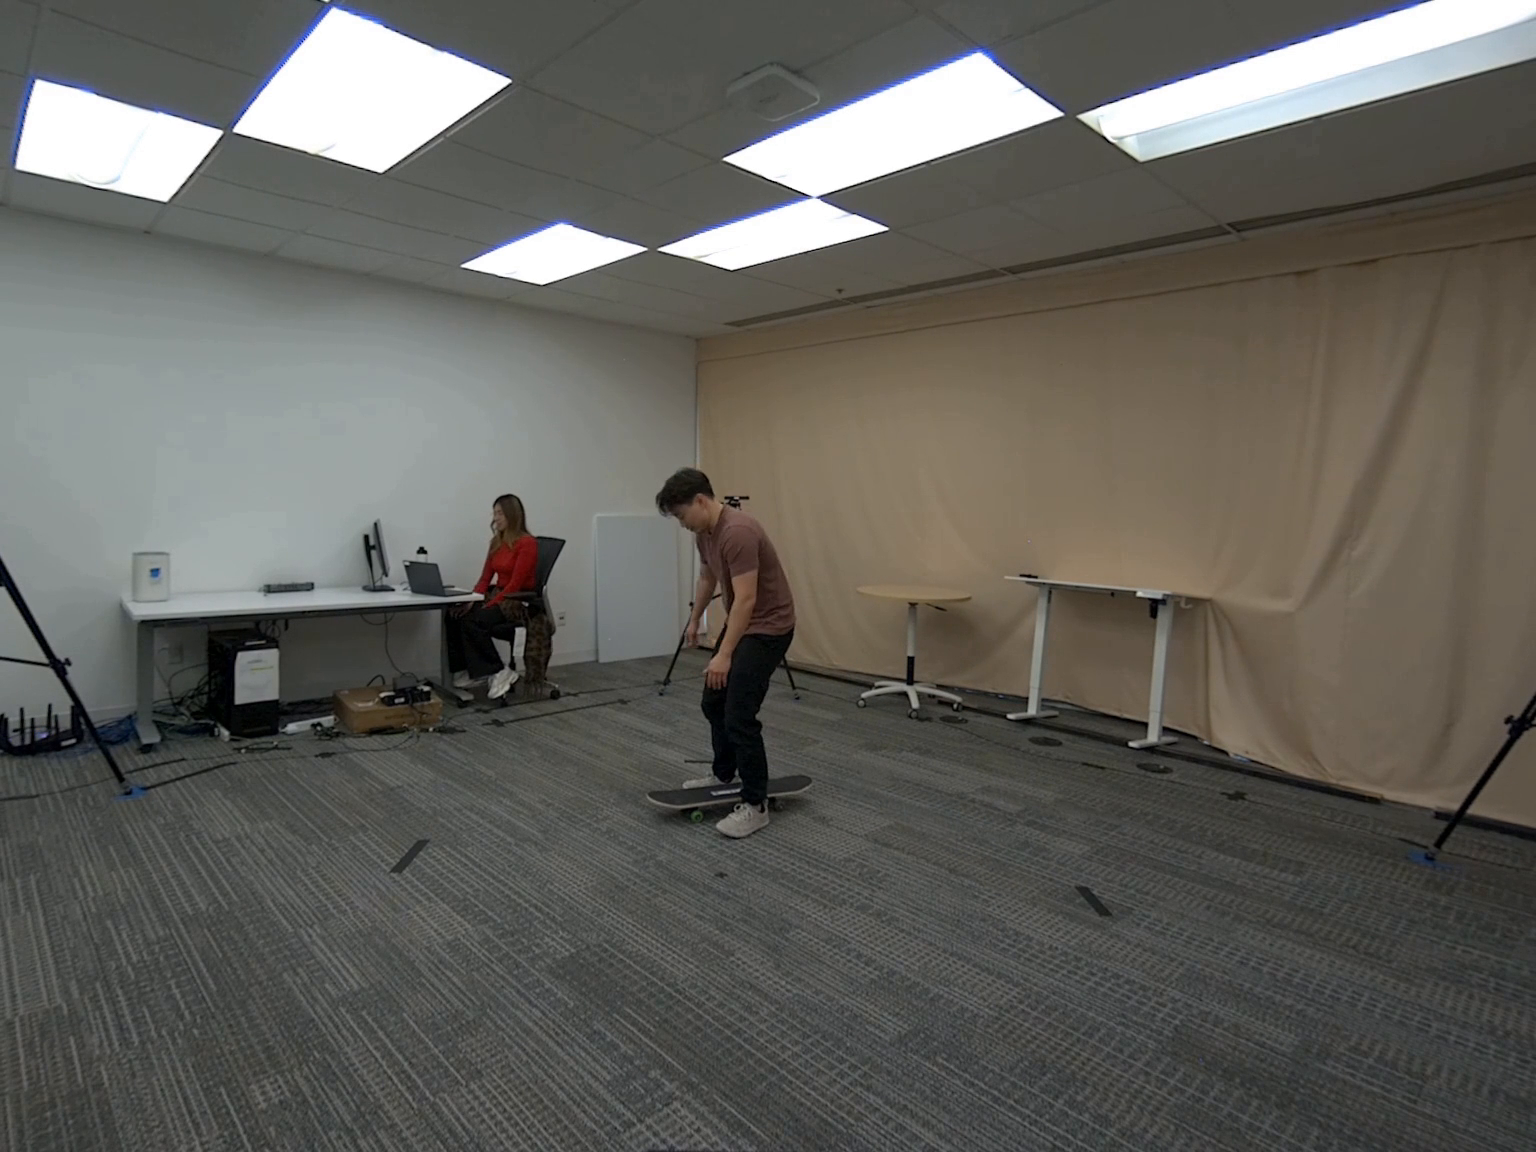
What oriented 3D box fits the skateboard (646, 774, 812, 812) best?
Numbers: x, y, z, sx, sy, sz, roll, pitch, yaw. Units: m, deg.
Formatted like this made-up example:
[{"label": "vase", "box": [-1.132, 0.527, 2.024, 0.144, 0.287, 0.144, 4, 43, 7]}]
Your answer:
[{"label": "skateboard", "box": [-0.170, 0.985, 3.750, 0.772, 0.110, 0.197, -1, 5, -24]}]
